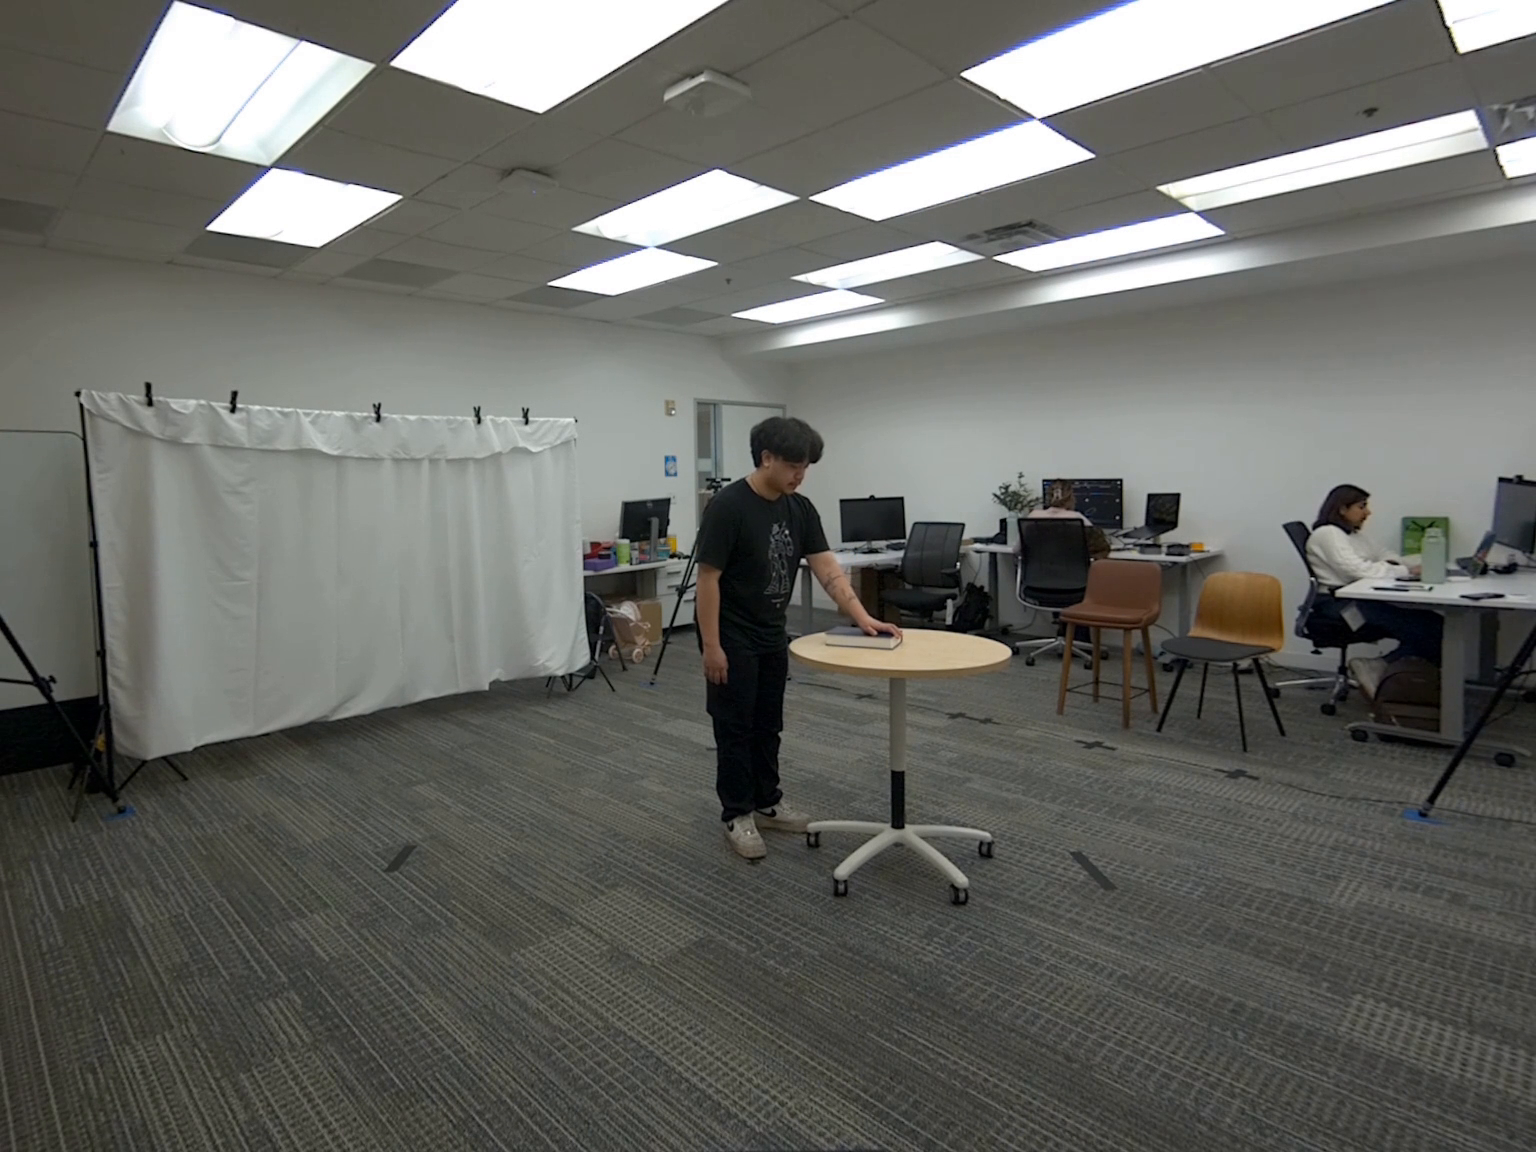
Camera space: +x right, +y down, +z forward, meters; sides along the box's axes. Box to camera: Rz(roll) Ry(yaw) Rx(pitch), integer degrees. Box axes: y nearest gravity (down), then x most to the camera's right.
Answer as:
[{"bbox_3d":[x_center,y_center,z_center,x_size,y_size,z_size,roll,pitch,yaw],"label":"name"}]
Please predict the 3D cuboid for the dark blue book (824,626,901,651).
[{"bbox_3d":[0.351,0.225,3.082,0.250,0.045,0.160,2,6,23],"label":"dark blue book"}]
